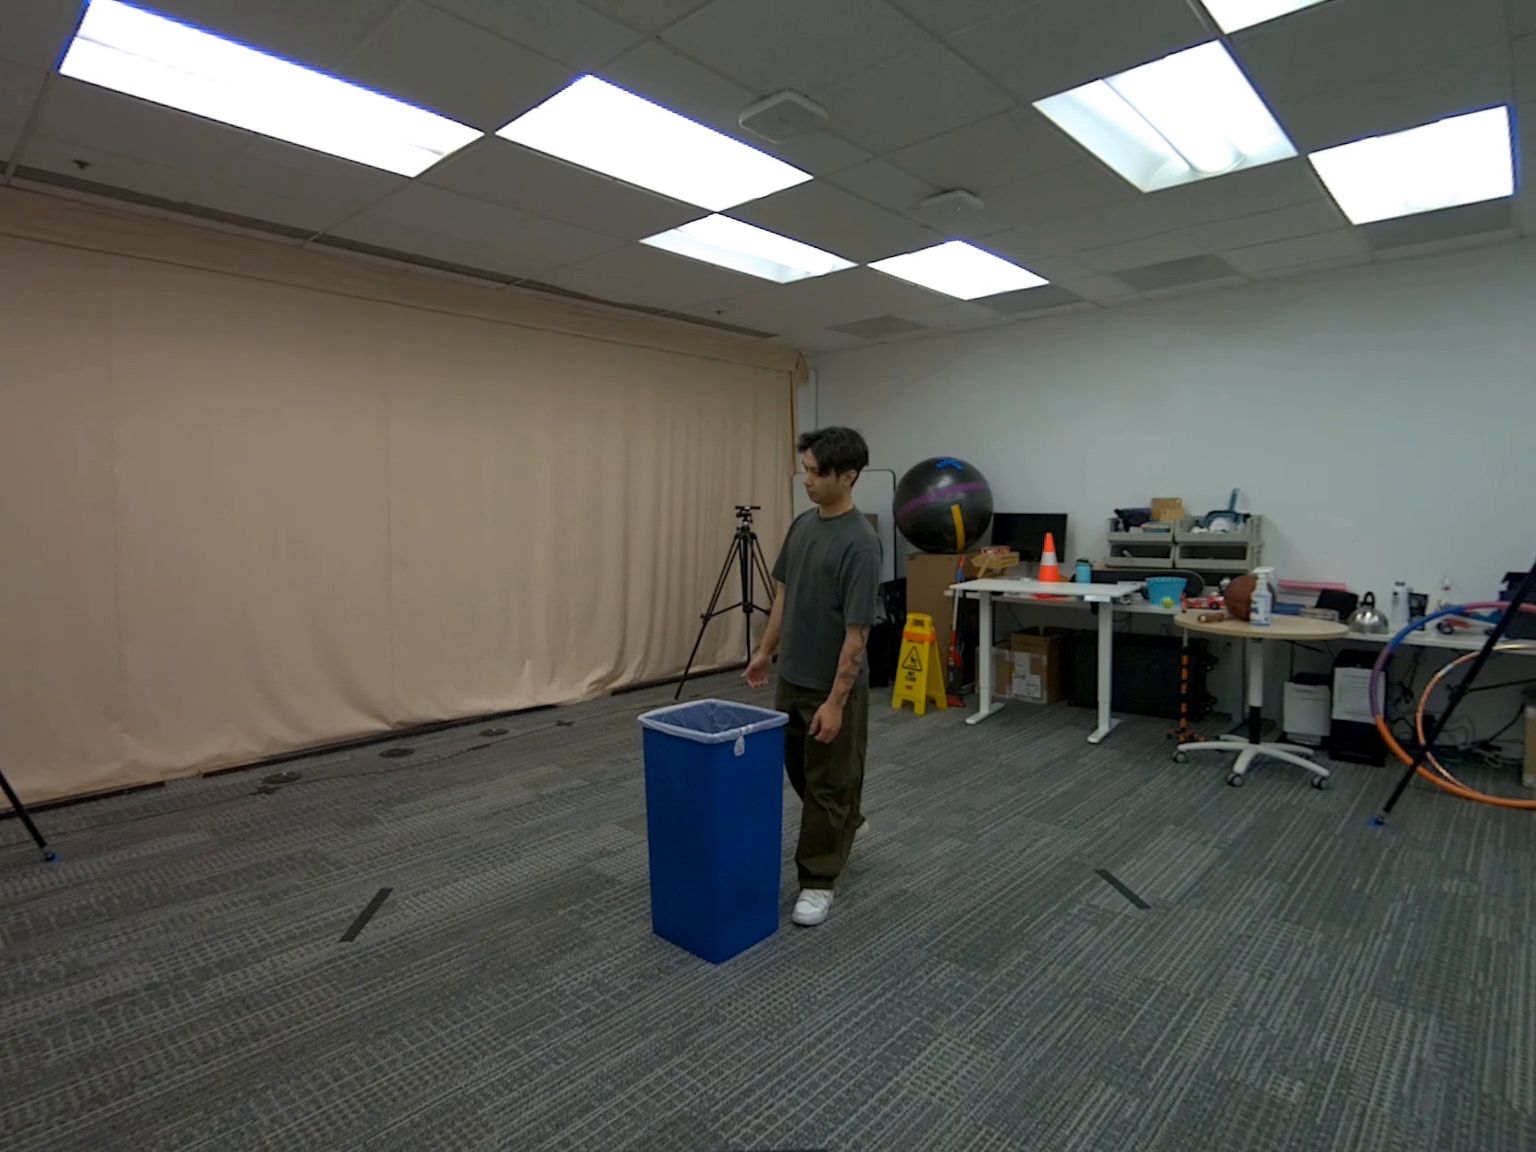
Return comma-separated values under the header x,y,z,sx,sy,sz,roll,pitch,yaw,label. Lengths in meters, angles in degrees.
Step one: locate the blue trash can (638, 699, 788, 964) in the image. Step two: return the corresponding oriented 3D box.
x,y,z,sx,sy,sz,roll,pitch,yaw,label
-0.175,0.809,2.732,0.390,0.712,0.362,2,3,42,blue trash can
